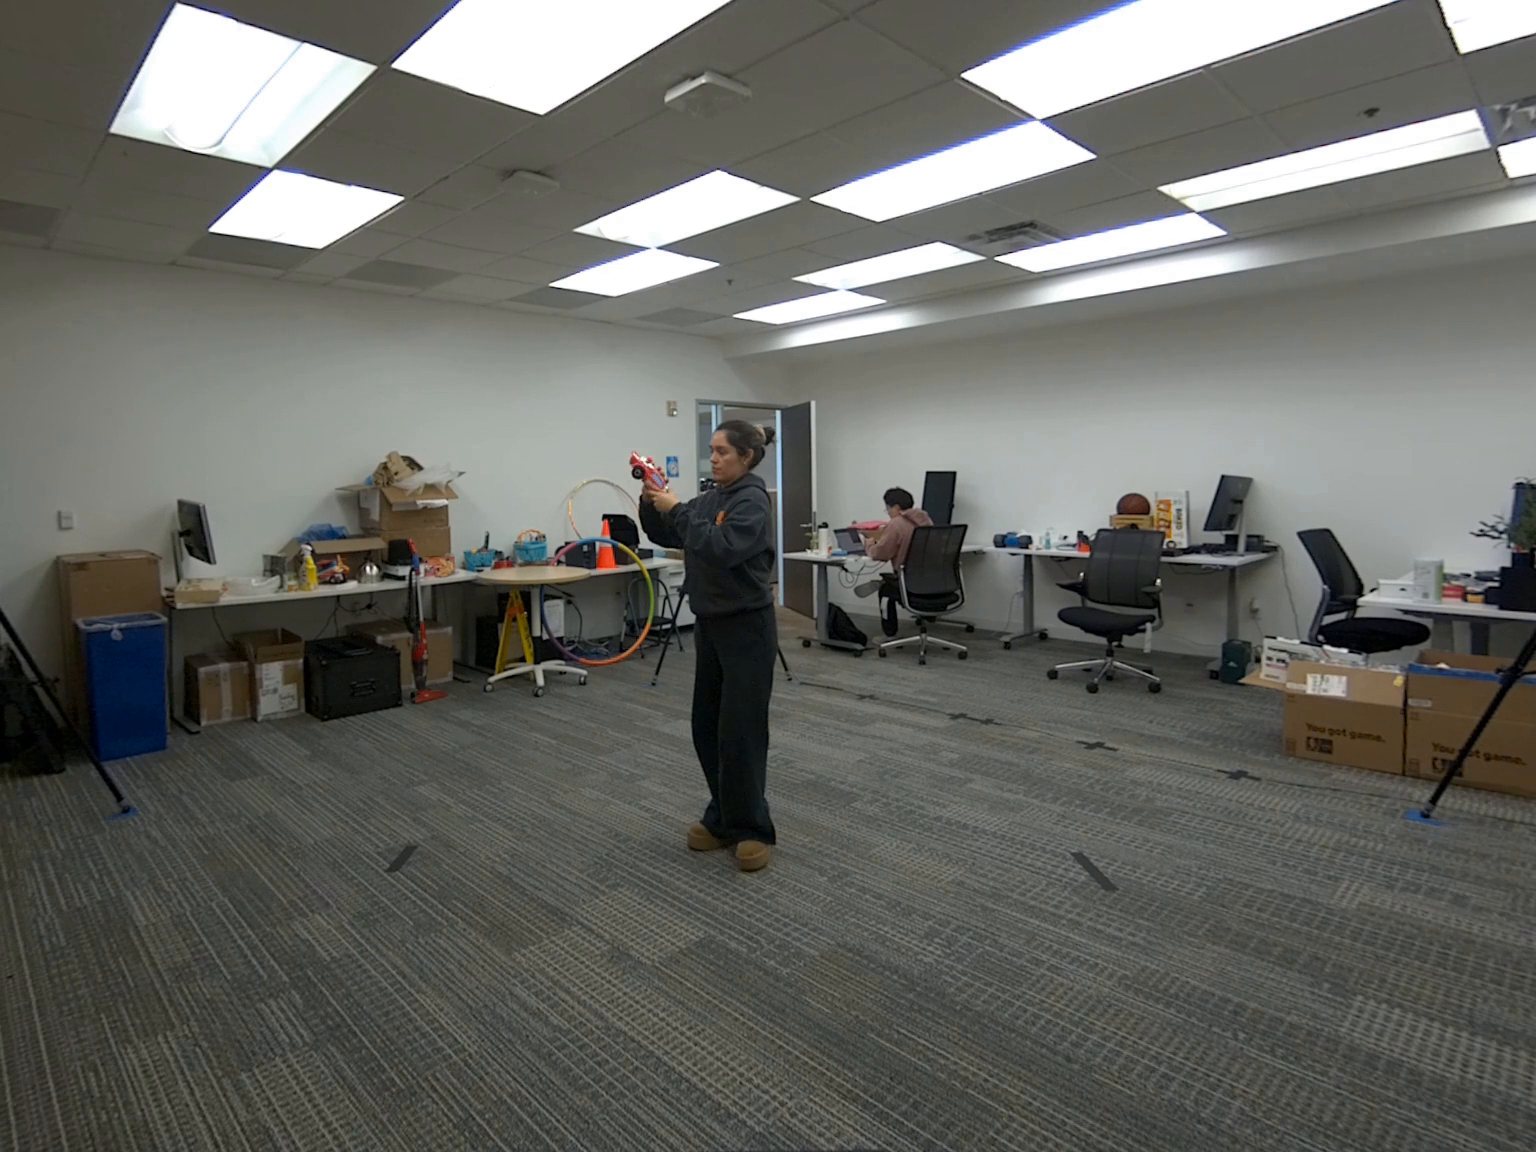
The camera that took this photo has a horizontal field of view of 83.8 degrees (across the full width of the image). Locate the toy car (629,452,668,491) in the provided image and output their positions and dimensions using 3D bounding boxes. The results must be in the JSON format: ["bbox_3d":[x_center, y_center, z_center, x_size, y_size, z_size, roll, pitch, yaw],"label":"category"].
[{"bbox_3d":[-0.429,-0.349,3.120,0.083,0.254,0.130,-28,3,5],"label":"toy car"}]
